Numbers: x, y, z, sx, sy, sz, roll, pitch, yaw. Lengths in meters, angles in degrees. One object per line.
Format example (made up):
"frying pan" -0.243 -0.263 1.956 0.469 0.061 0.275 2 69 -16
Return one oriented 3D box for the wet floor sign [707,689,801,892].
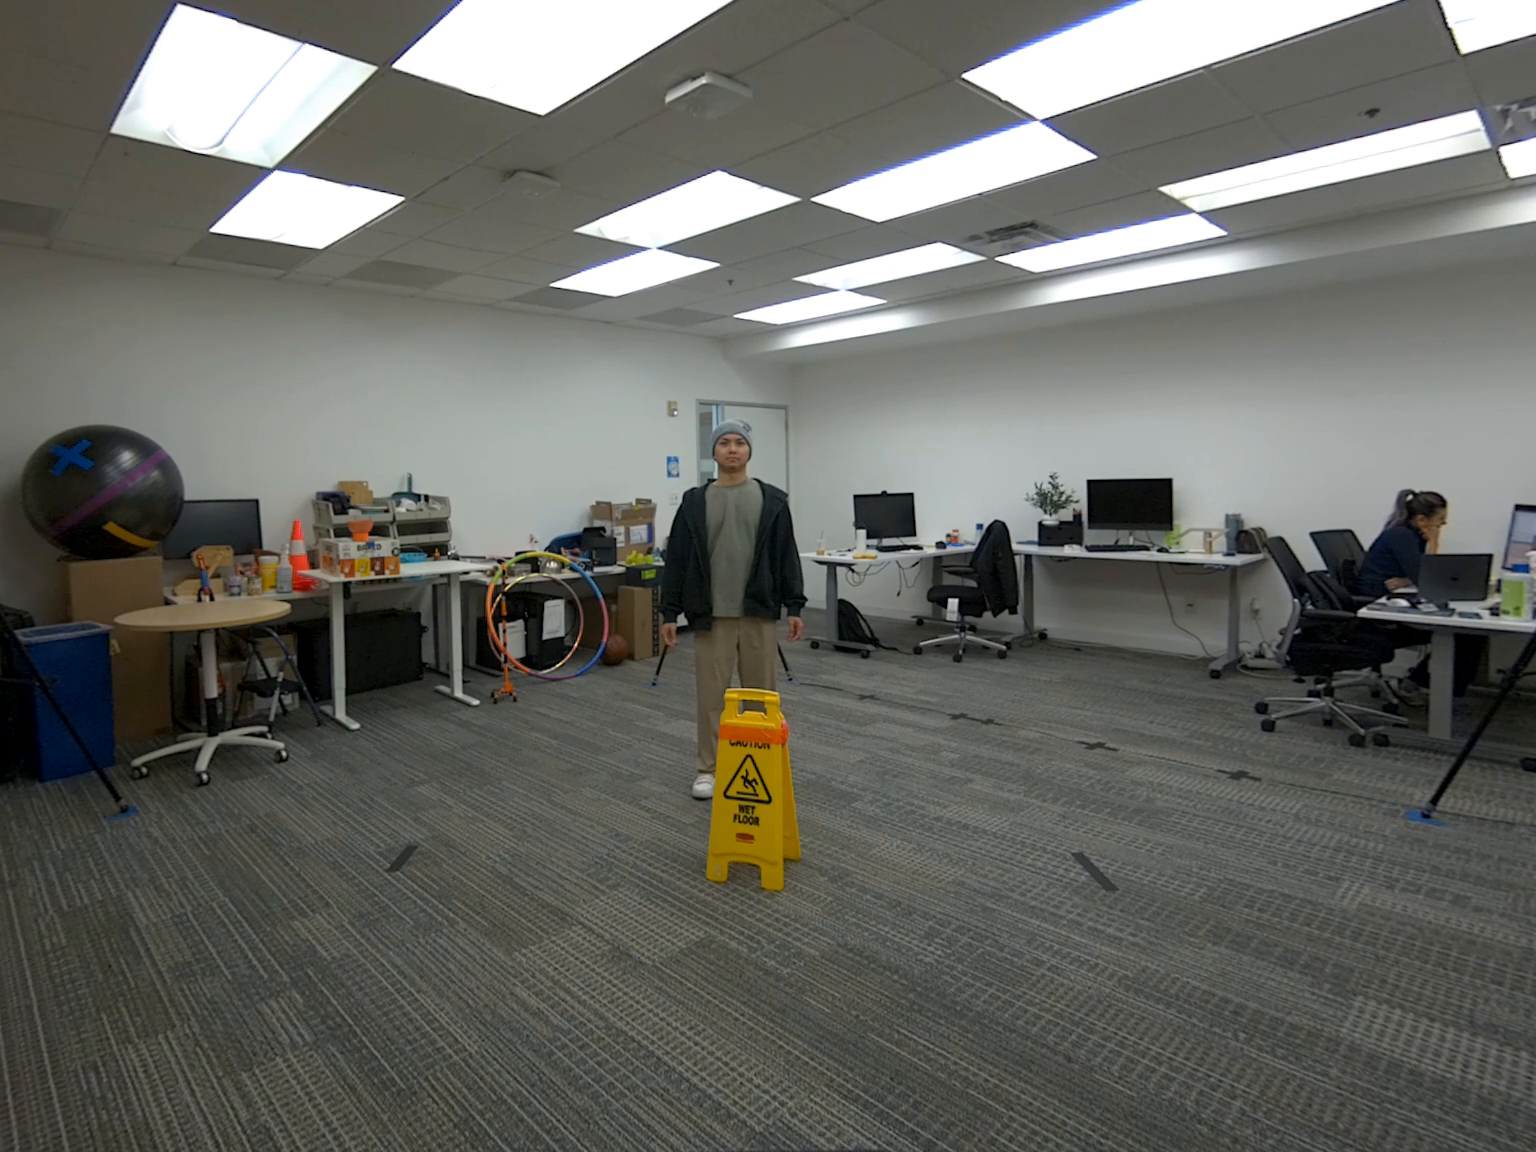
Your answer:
"wet floor sign" -0.053 0.732 3.036 0.287 0.644 0.285 -1 4 19
